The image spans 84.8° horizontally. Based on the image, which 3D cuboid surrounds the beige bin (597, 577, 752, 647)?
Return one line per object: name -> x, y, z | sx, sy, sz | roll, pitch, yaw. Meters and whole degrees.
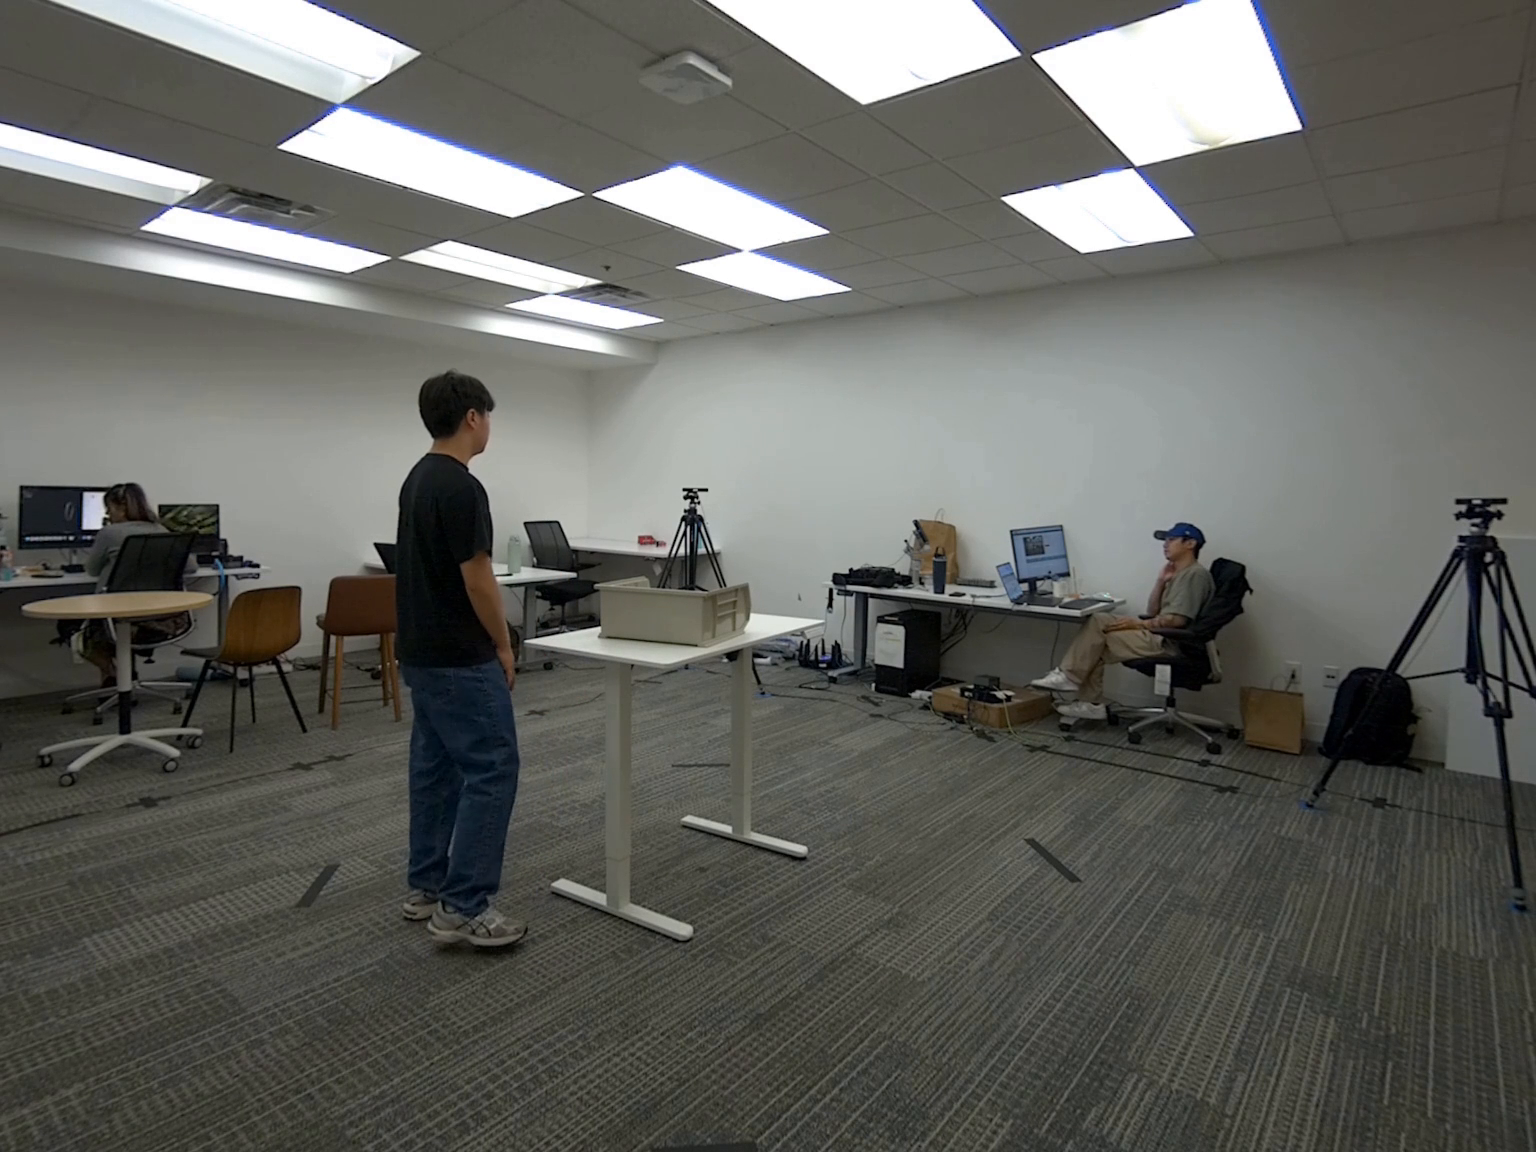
beige bin -> -0.333, 0.118, 2.937 | 0.433, 0.188, 0.370 | 4, 7, 24
